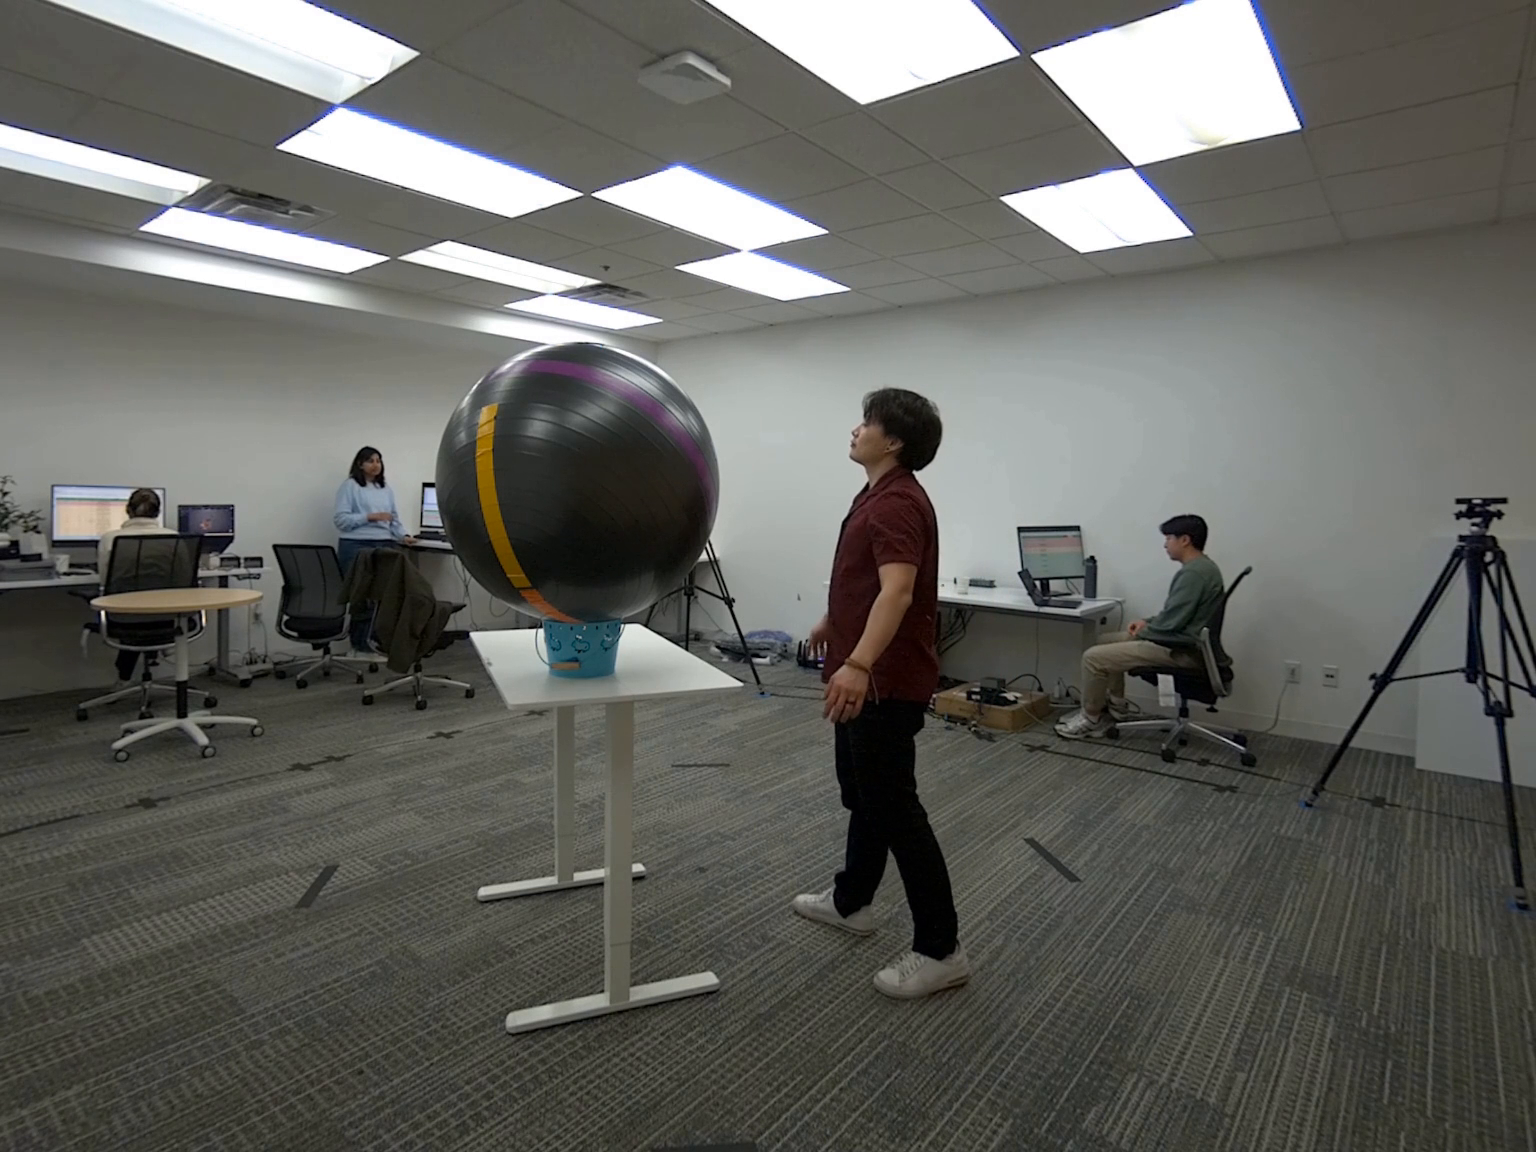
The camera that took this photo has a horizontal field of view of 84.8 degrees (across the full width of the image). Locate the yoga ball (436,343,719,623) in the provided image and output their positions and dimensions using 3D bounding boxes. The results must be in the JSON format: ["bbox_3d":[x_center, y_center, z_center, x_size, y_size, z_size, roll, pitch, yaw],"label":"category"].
[{"bbox_3d":[-0.524,-0.241,2.307,0.757,0.756,0.762,1,4,-2],"label":"yoga ball"}]
